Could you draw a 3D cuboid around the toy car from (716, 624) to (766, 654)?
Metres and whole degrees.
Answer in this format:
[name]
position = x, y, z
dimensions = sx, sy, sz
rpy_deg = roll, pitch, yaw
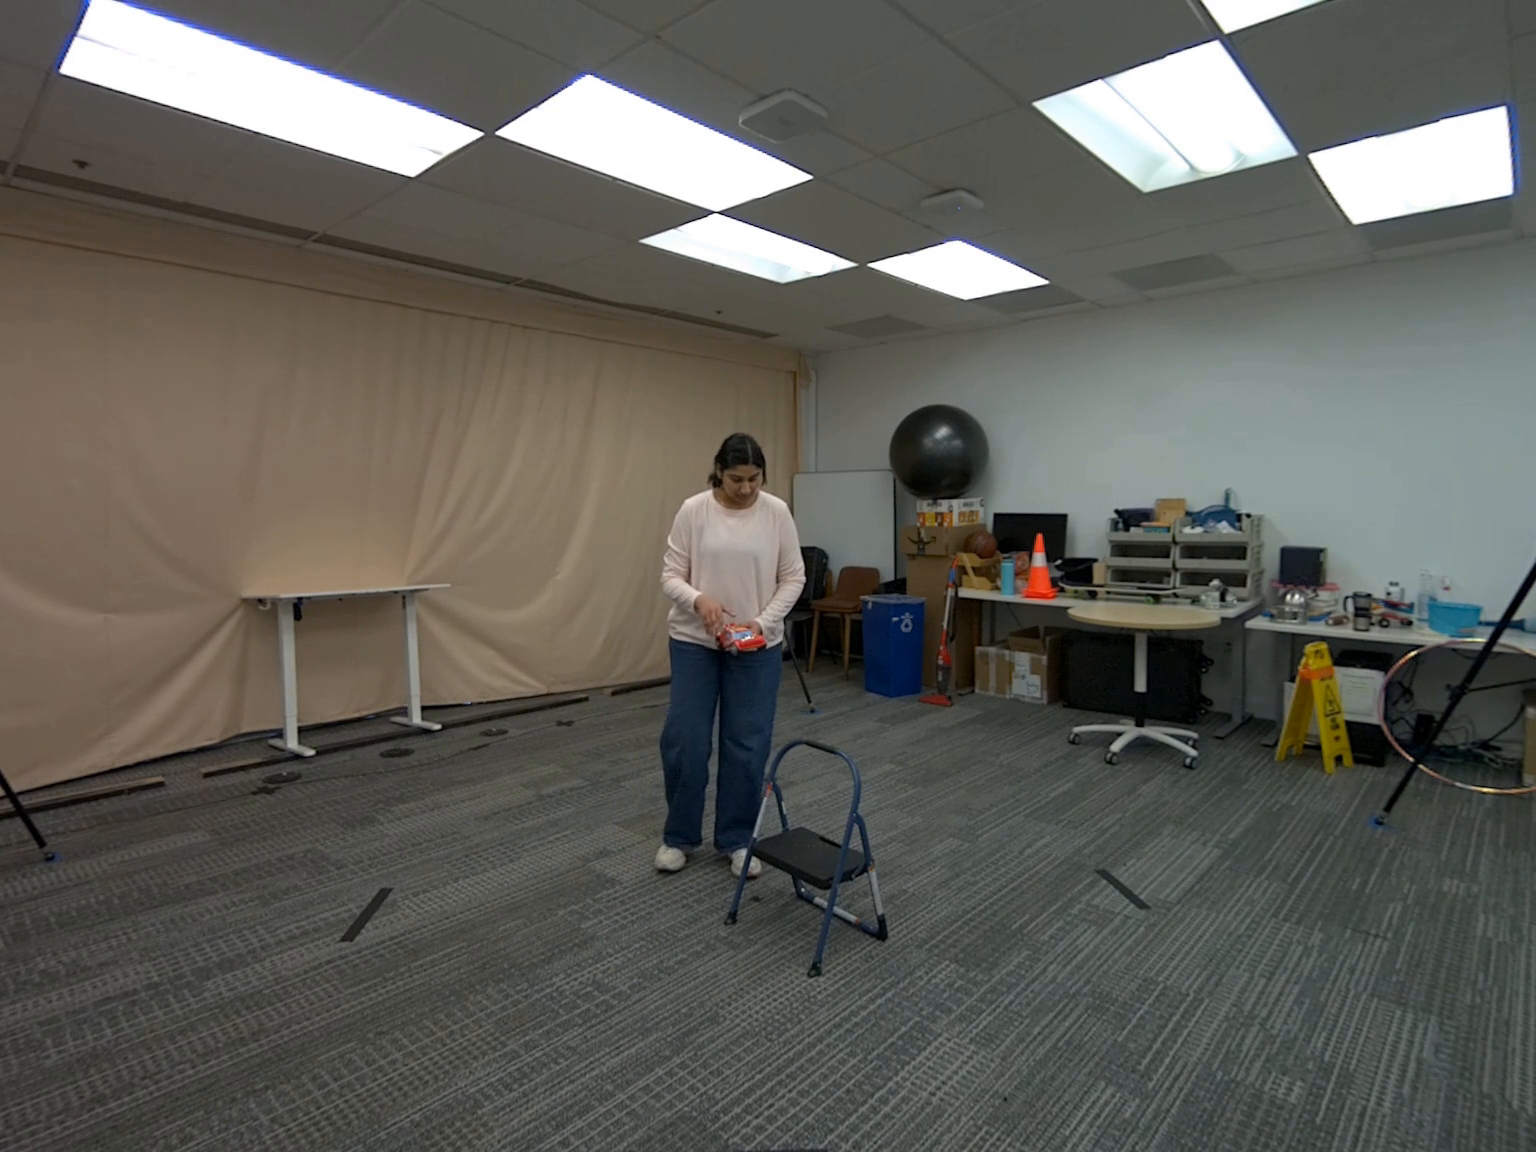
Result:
[toy car]
position = -0.114, 0.223, 2.946
dimensions = 0.128, 0.082, 0.262
rpy_deg = -10, 15, -23
